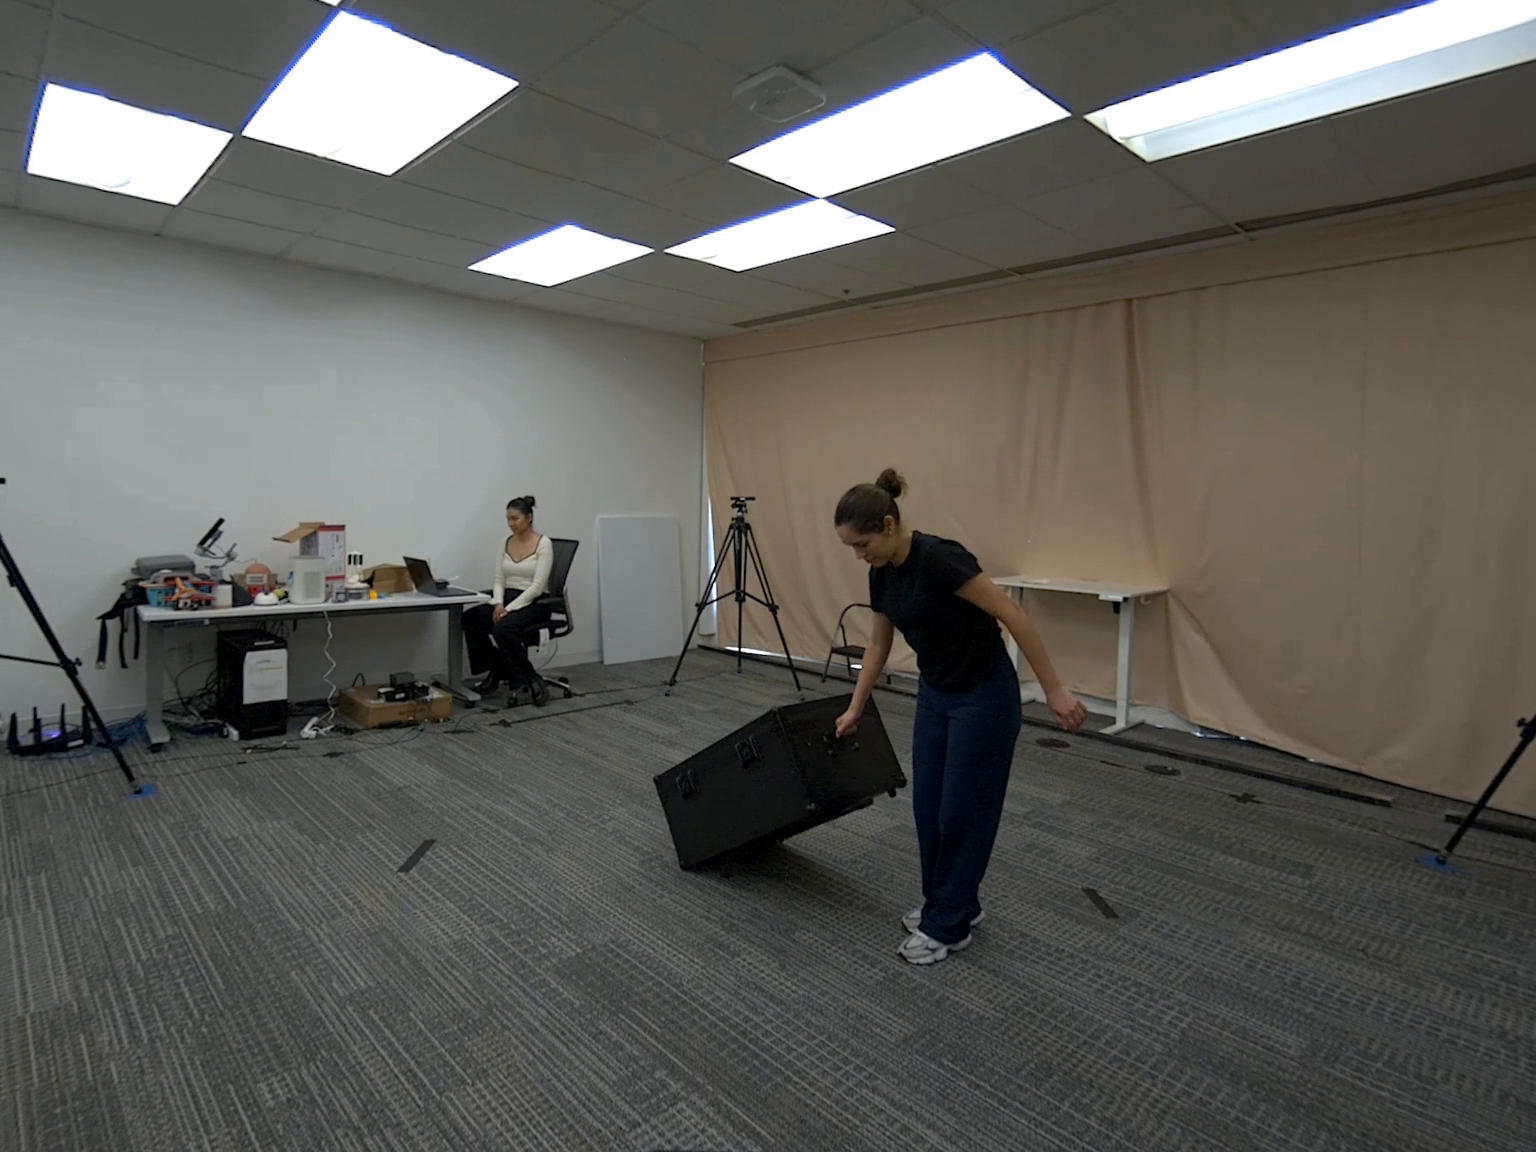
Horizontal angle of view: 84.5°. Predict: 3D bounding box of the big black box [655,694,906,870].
[{"bbox_3d":[-0.009,0.761,3.117,0.509,0.404,0.865,-3,-26,-43],"label":"big black box"}]
